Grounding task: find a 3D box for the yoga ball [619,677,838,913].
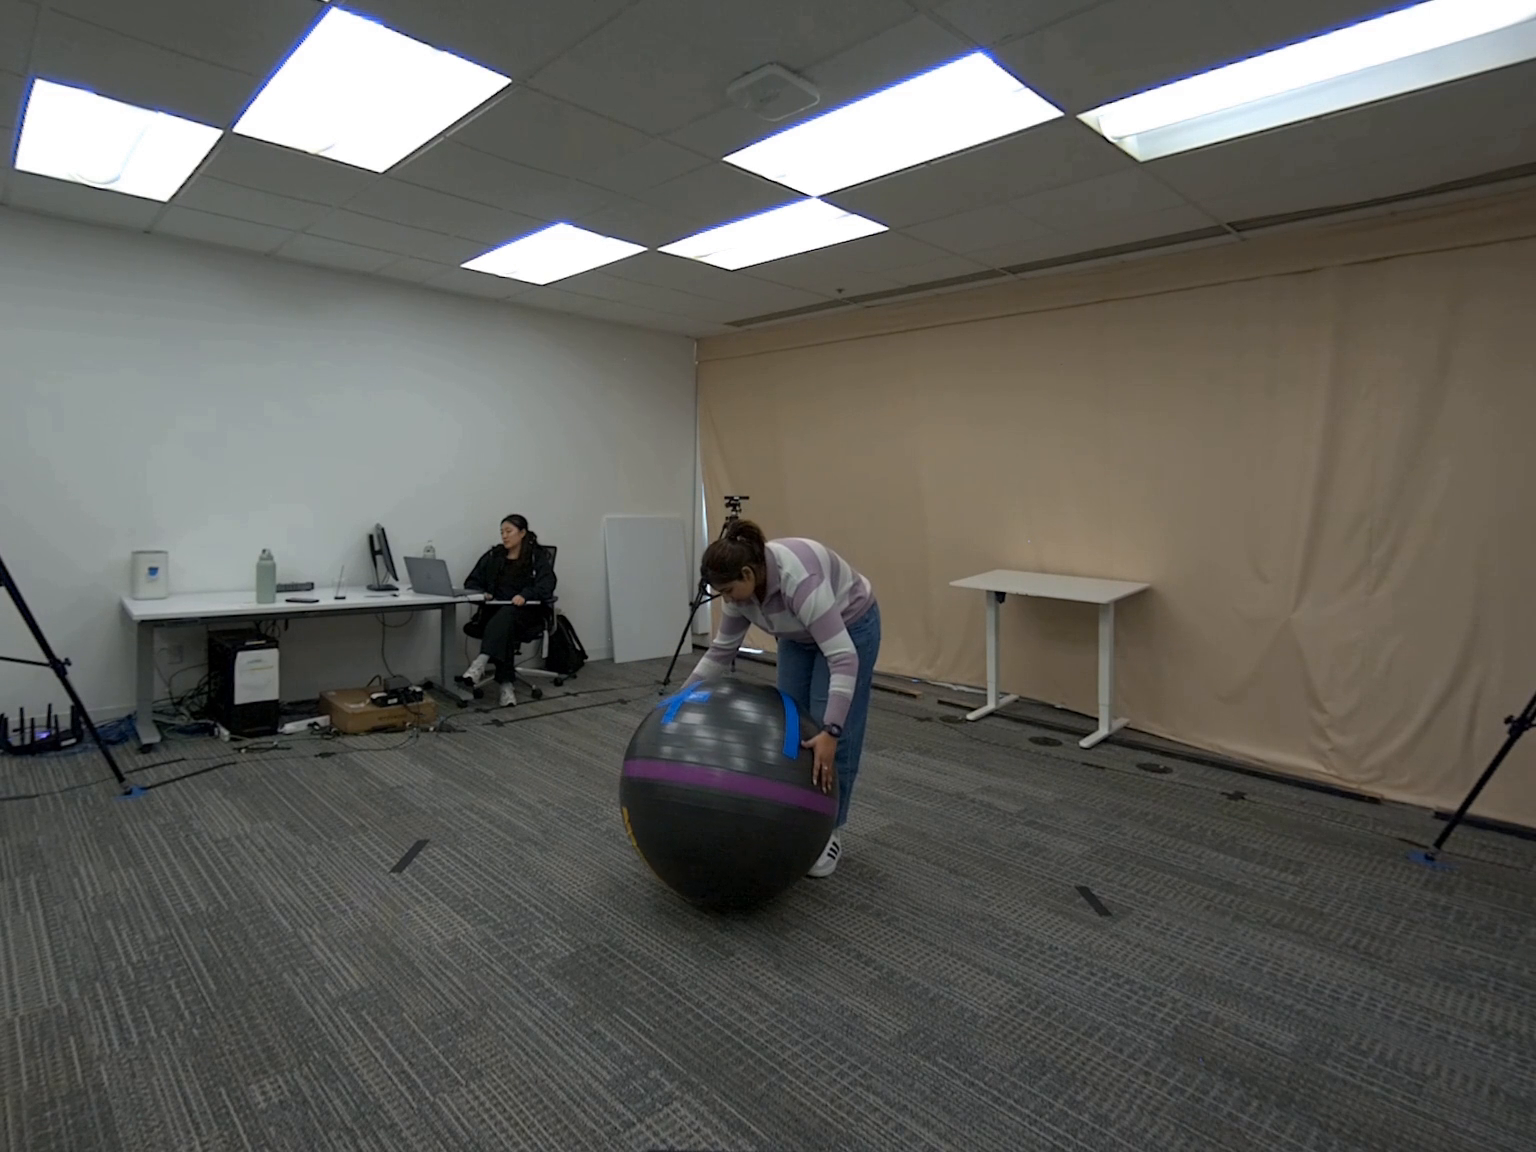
[{"bbox_3d":[-0.149,0.746,2.928,0.757,0.756,0.761,1,4,-1],"label":"yoga ball"}]
